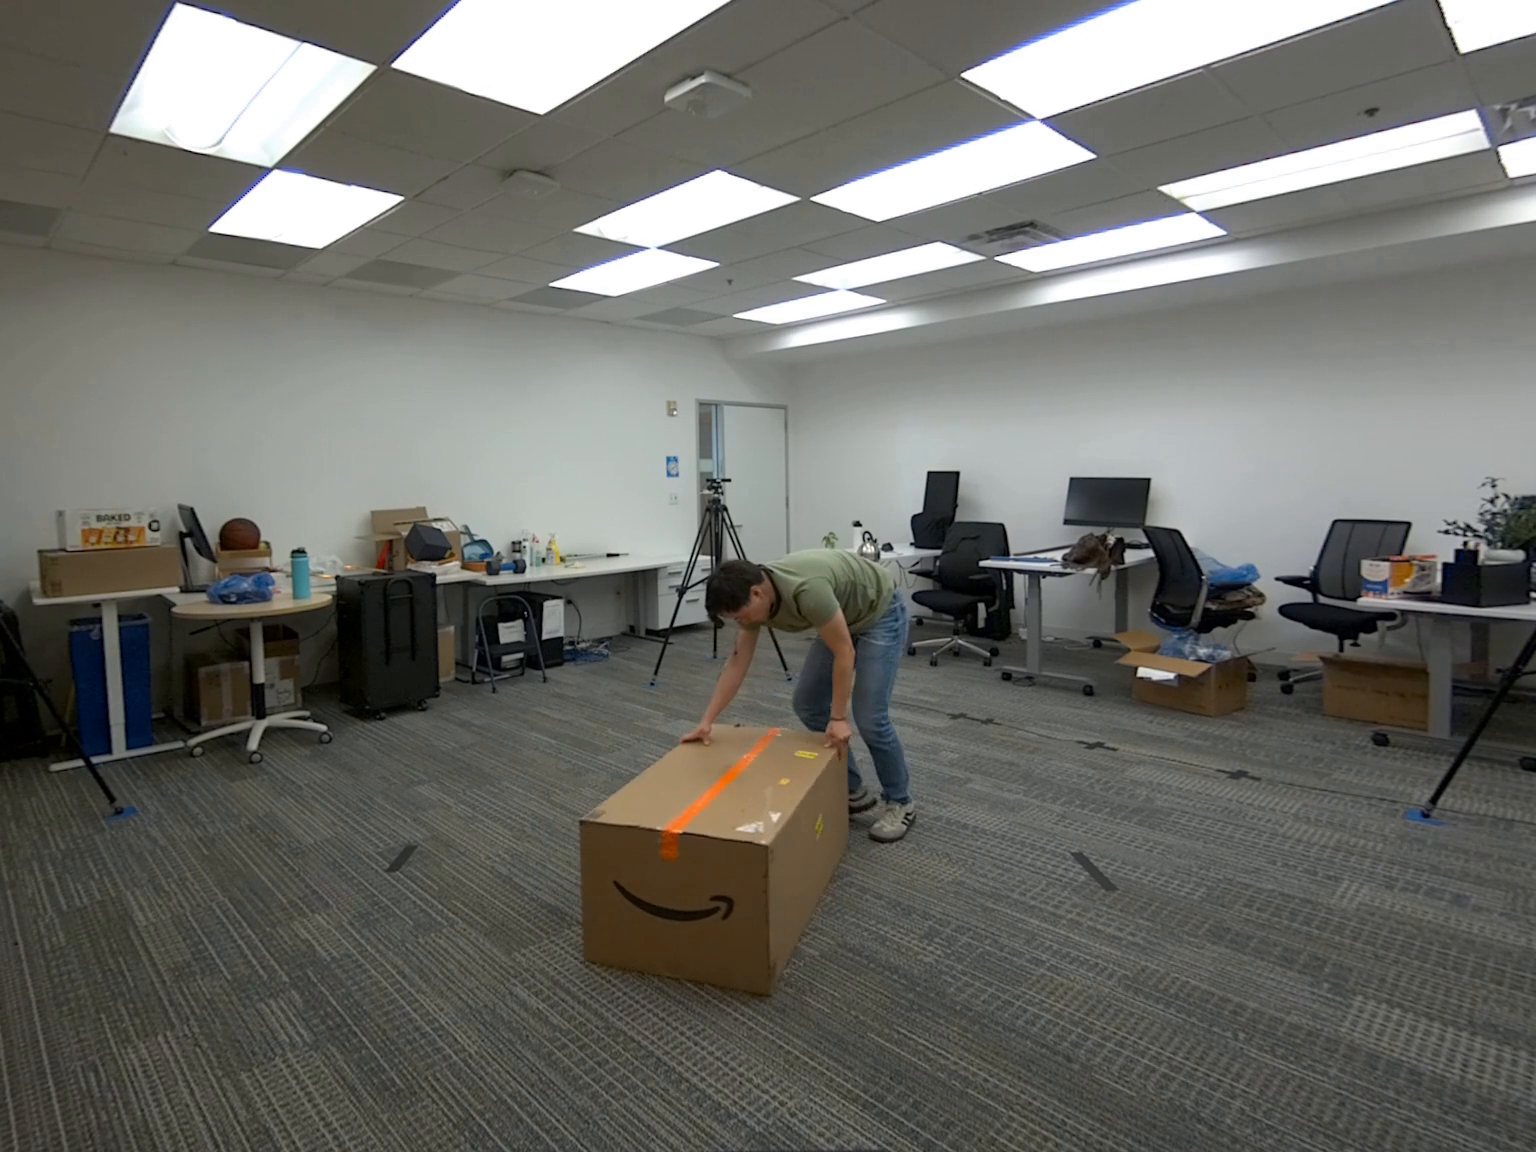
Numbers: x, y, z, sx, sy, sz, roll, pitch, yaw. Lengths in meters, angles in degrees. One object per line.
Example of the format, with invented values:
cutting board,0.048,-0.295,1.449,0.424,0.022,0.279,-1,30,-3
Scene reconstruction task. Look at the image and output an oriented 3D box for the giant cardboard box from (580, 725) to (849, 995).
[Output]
giant cardboard box,-0.125,0.860,2.860,0.588,0.424,1.012,1,6,18
